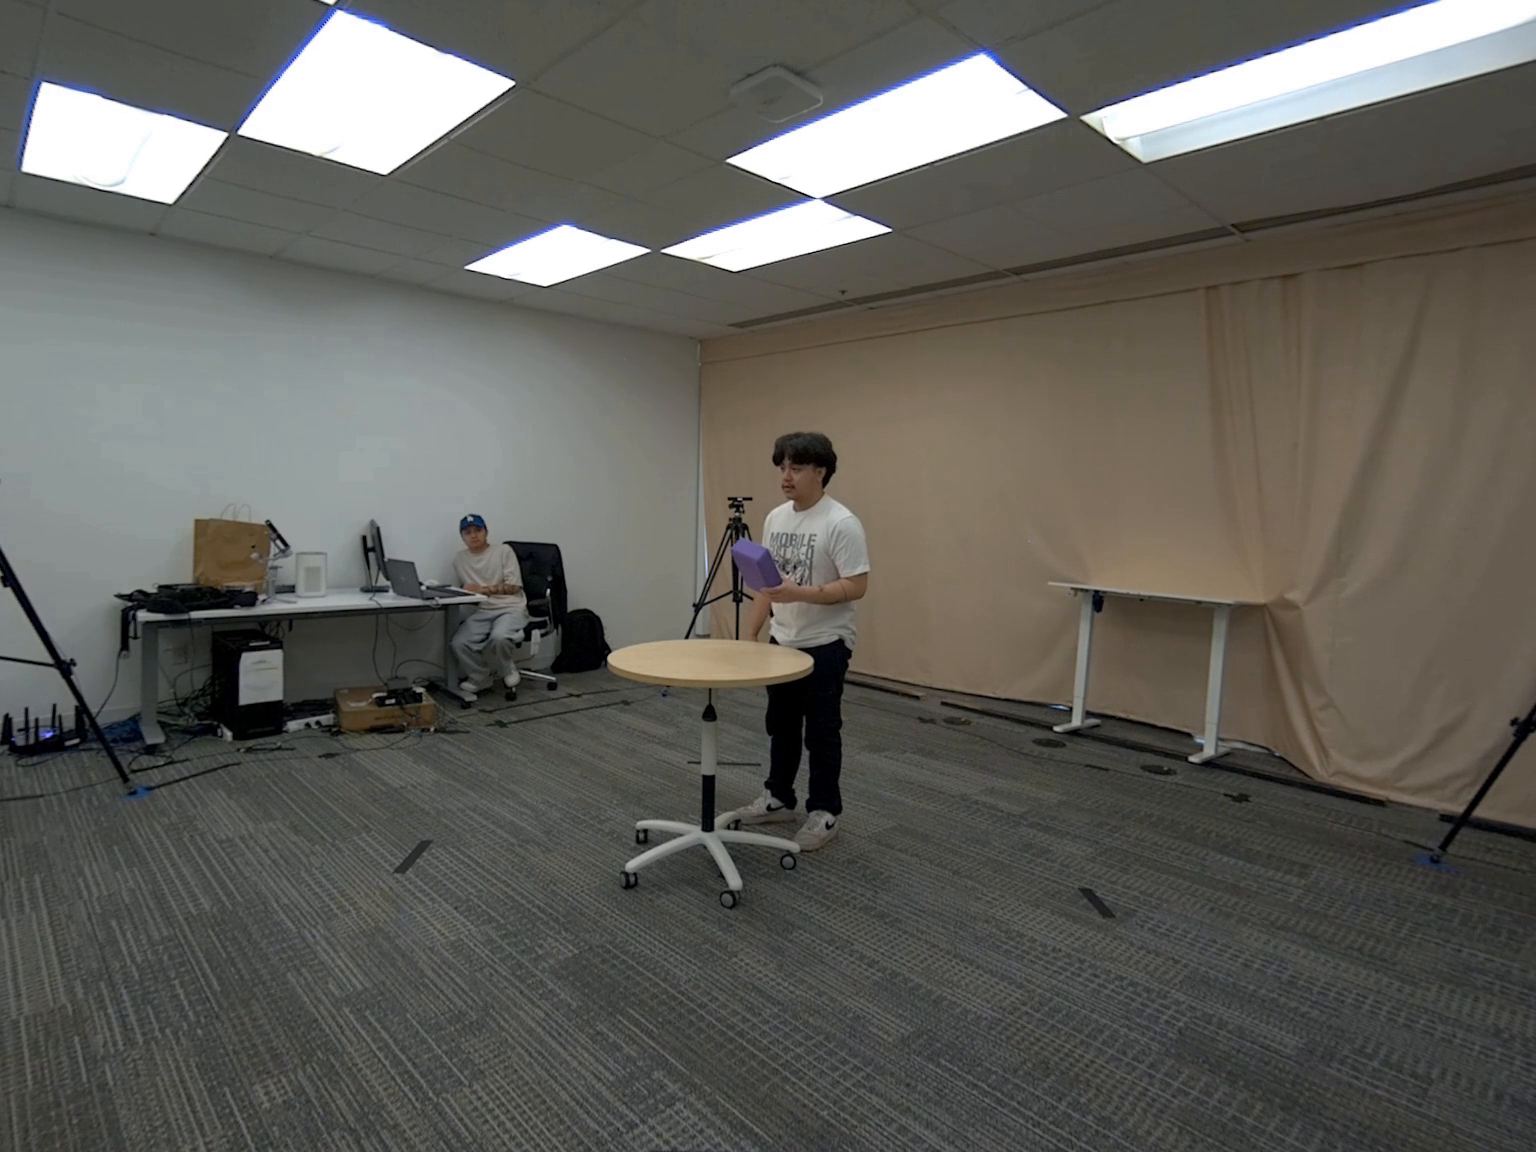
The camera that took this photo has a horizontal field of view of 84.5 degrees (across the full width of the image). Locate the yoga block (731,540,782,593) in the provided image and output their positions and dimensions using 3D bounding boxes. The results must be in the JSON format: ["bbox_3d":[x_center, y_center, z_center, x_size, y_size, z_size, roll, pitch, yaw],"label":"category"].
[{"bbox_3d":[-0.046,-0.030,3.183,0.153,0.076,0.222,24,-26,37],"label":"yoga block"}]
